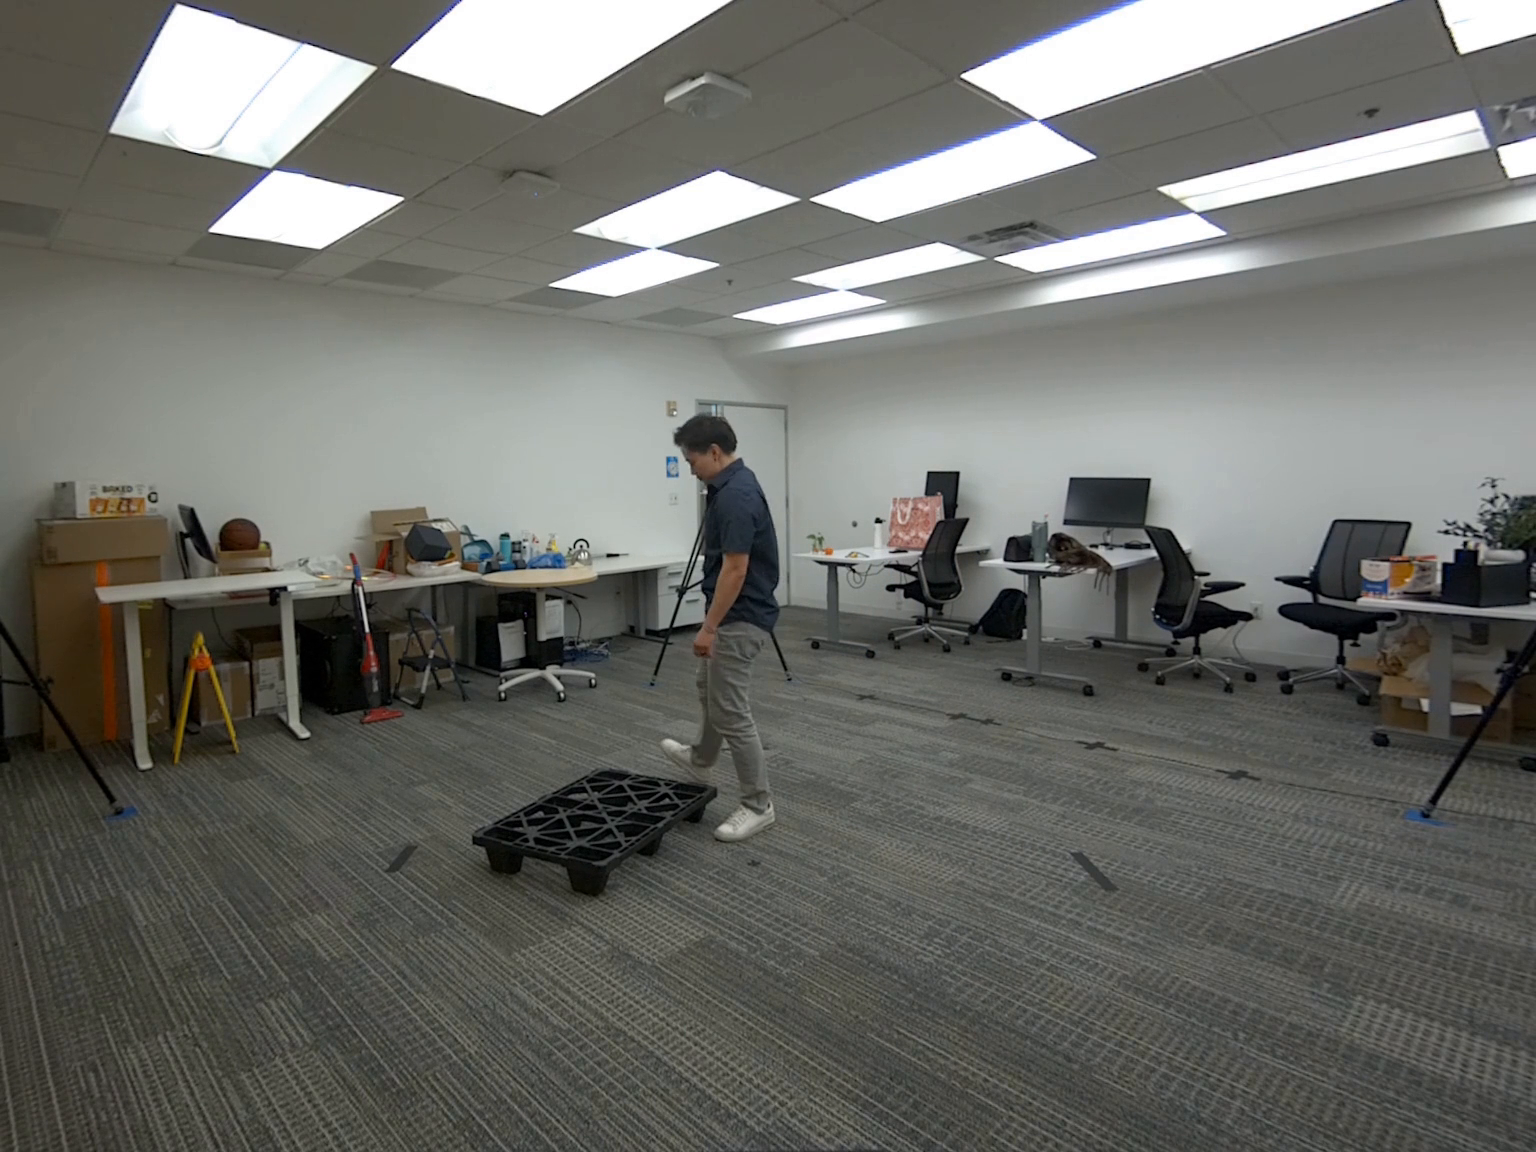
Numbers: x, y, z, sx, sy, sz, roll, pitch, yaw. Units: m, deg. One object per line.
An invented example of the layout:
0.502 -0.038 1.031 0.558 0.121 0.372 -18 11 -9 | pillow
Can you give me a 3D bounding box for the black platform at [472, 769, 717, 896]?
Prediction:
-0.630 0.964 3.302 0.620 0.142 0.790 2 7 27 | black platform
